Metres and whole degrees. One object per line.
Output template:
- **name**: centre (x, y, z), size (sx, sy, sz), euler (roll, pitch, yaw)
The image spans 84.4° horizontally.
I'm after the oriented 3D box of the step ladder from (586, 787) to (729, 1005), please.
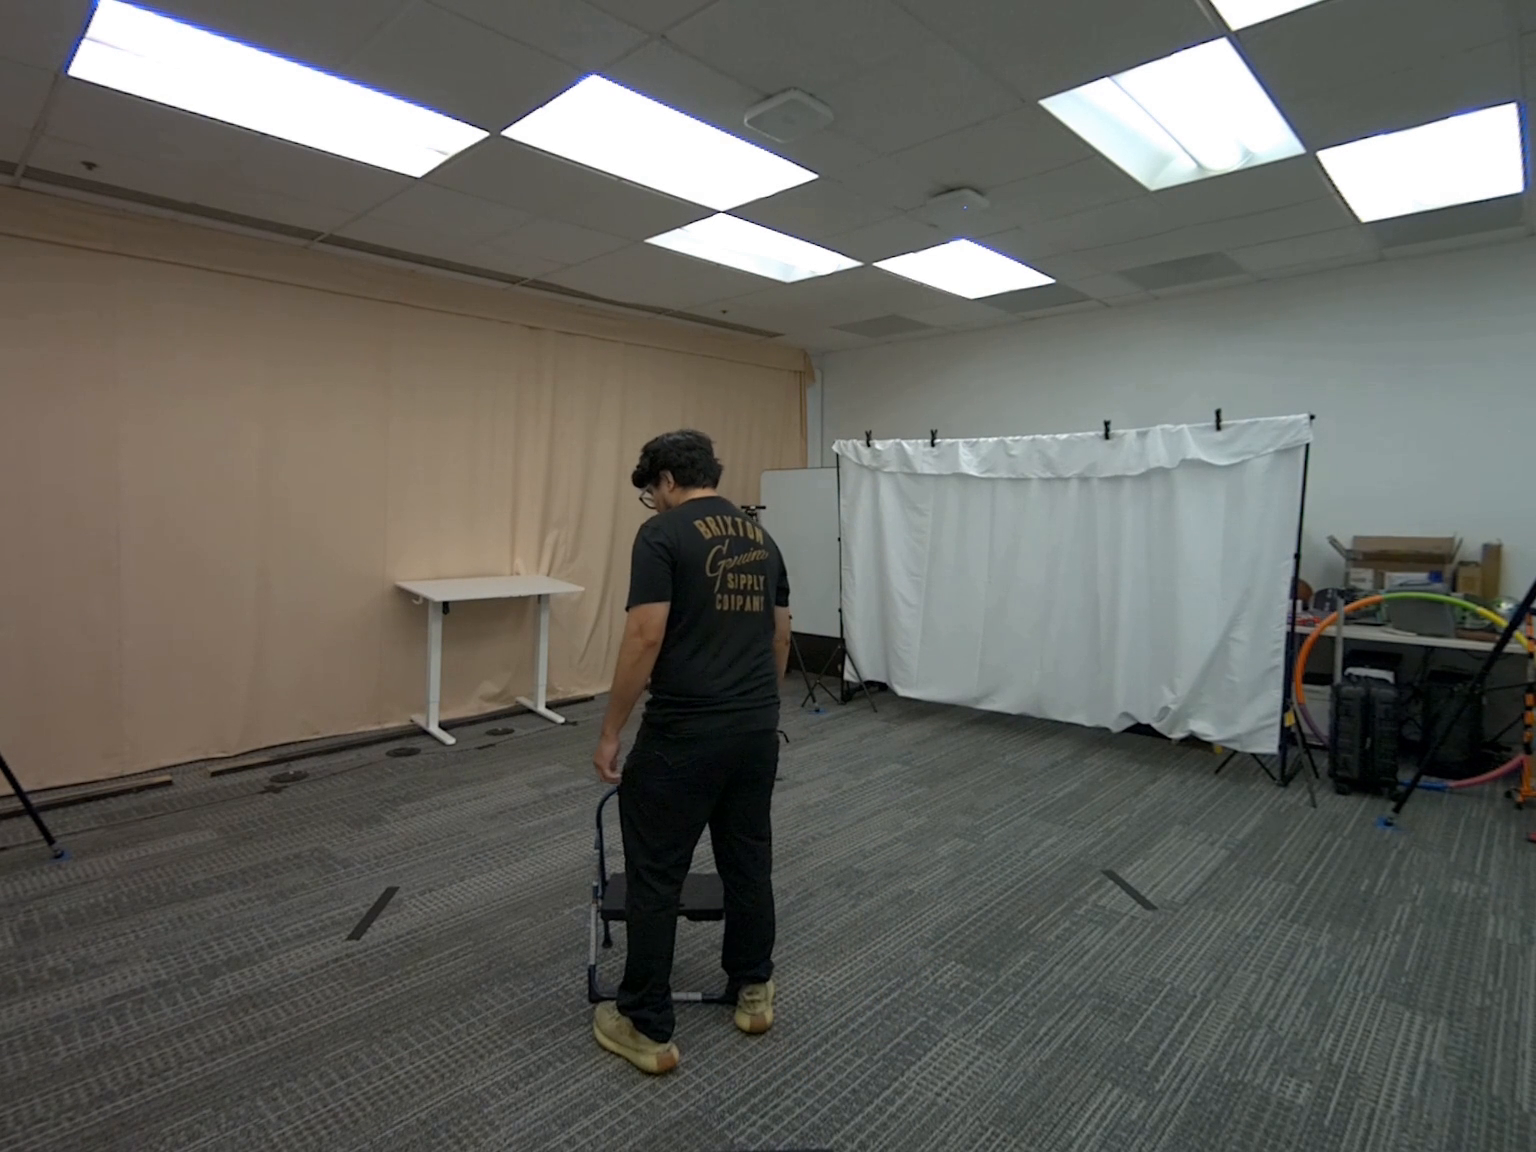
- **step ladder**: centre (-0.309, 0.895, 2.506), size (0.430, 0.607, 0.349), euler (0, -2, -2)
